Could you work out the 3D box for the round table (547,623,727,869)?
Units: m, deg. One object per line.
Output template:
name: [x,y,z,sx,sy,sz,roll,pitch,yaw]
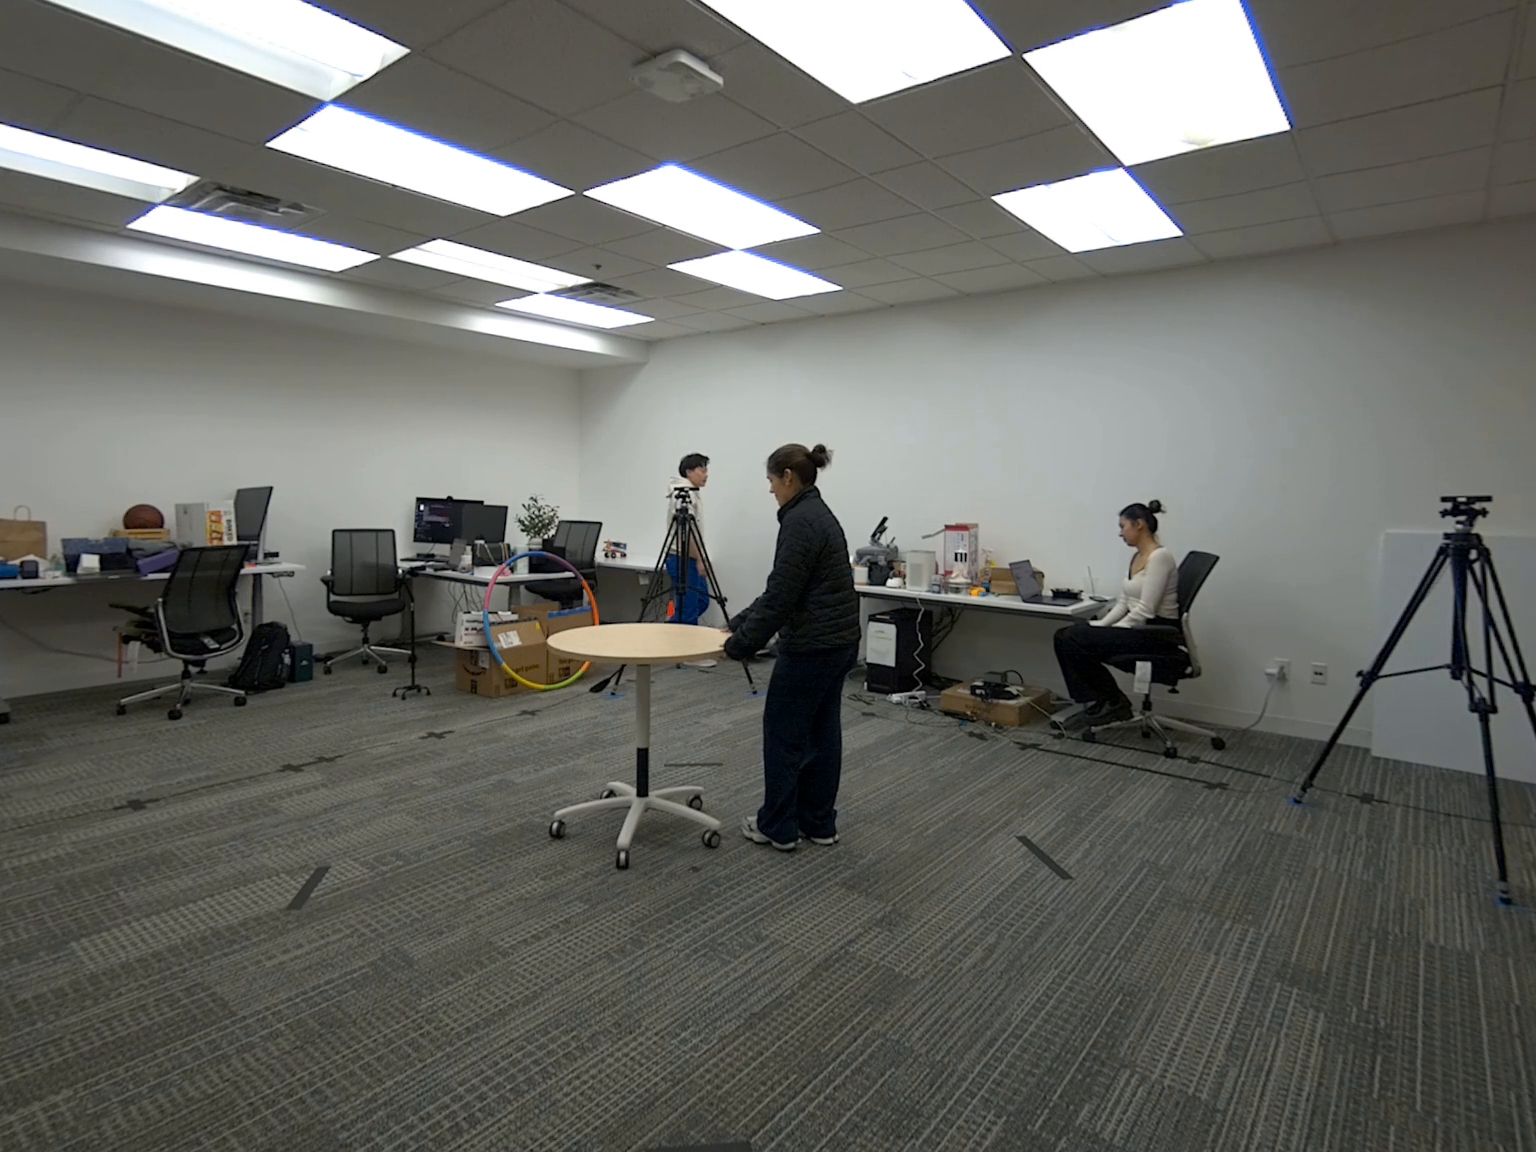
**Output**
round table: [-0.489,0.637,3.441,0.784,0.784,0.789,1,4,-2]
